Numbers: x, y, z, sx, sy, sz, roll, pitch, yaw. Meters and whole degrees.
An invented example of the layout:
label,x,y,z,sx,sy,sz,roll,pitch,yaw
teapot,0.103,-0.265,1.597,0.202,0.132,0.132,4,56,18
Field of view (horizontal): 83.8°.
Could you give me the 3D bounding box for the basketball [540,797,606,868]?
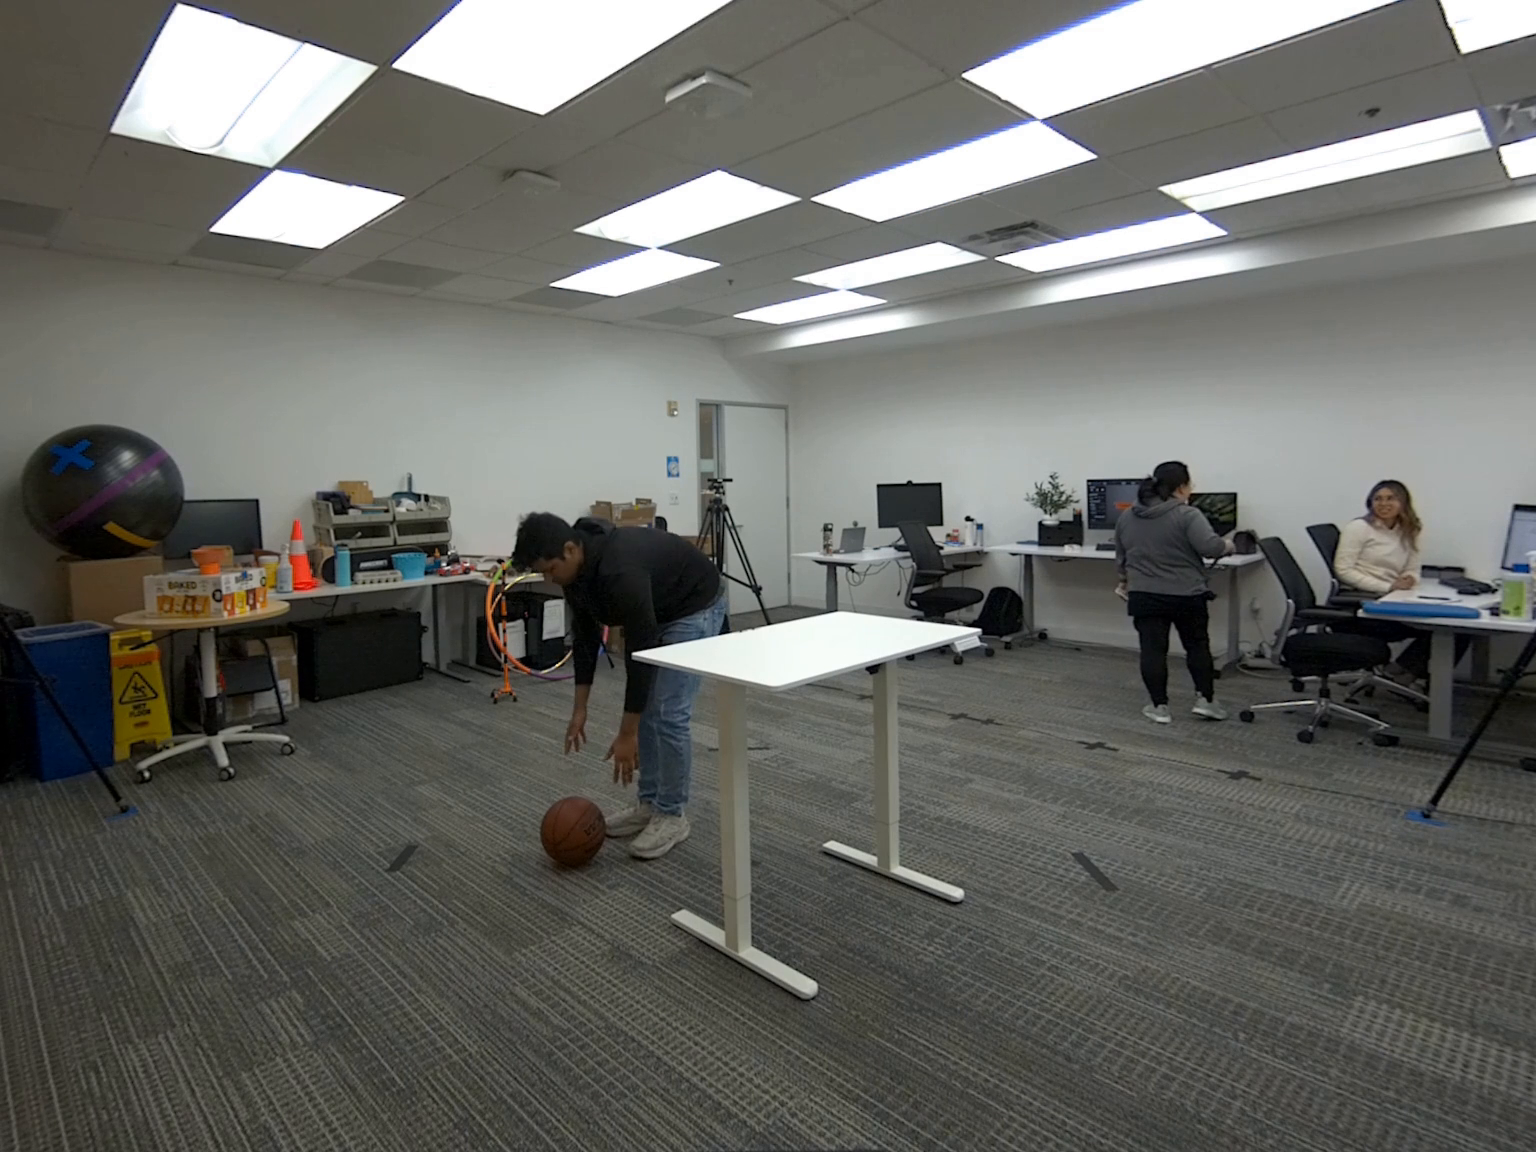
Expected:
label,x,y,z,sx,sy,sz,roll,pitch,yaw
basketball,-0.717,0.931,3.137,0.236,0.235,0.237,-1,5,-2
